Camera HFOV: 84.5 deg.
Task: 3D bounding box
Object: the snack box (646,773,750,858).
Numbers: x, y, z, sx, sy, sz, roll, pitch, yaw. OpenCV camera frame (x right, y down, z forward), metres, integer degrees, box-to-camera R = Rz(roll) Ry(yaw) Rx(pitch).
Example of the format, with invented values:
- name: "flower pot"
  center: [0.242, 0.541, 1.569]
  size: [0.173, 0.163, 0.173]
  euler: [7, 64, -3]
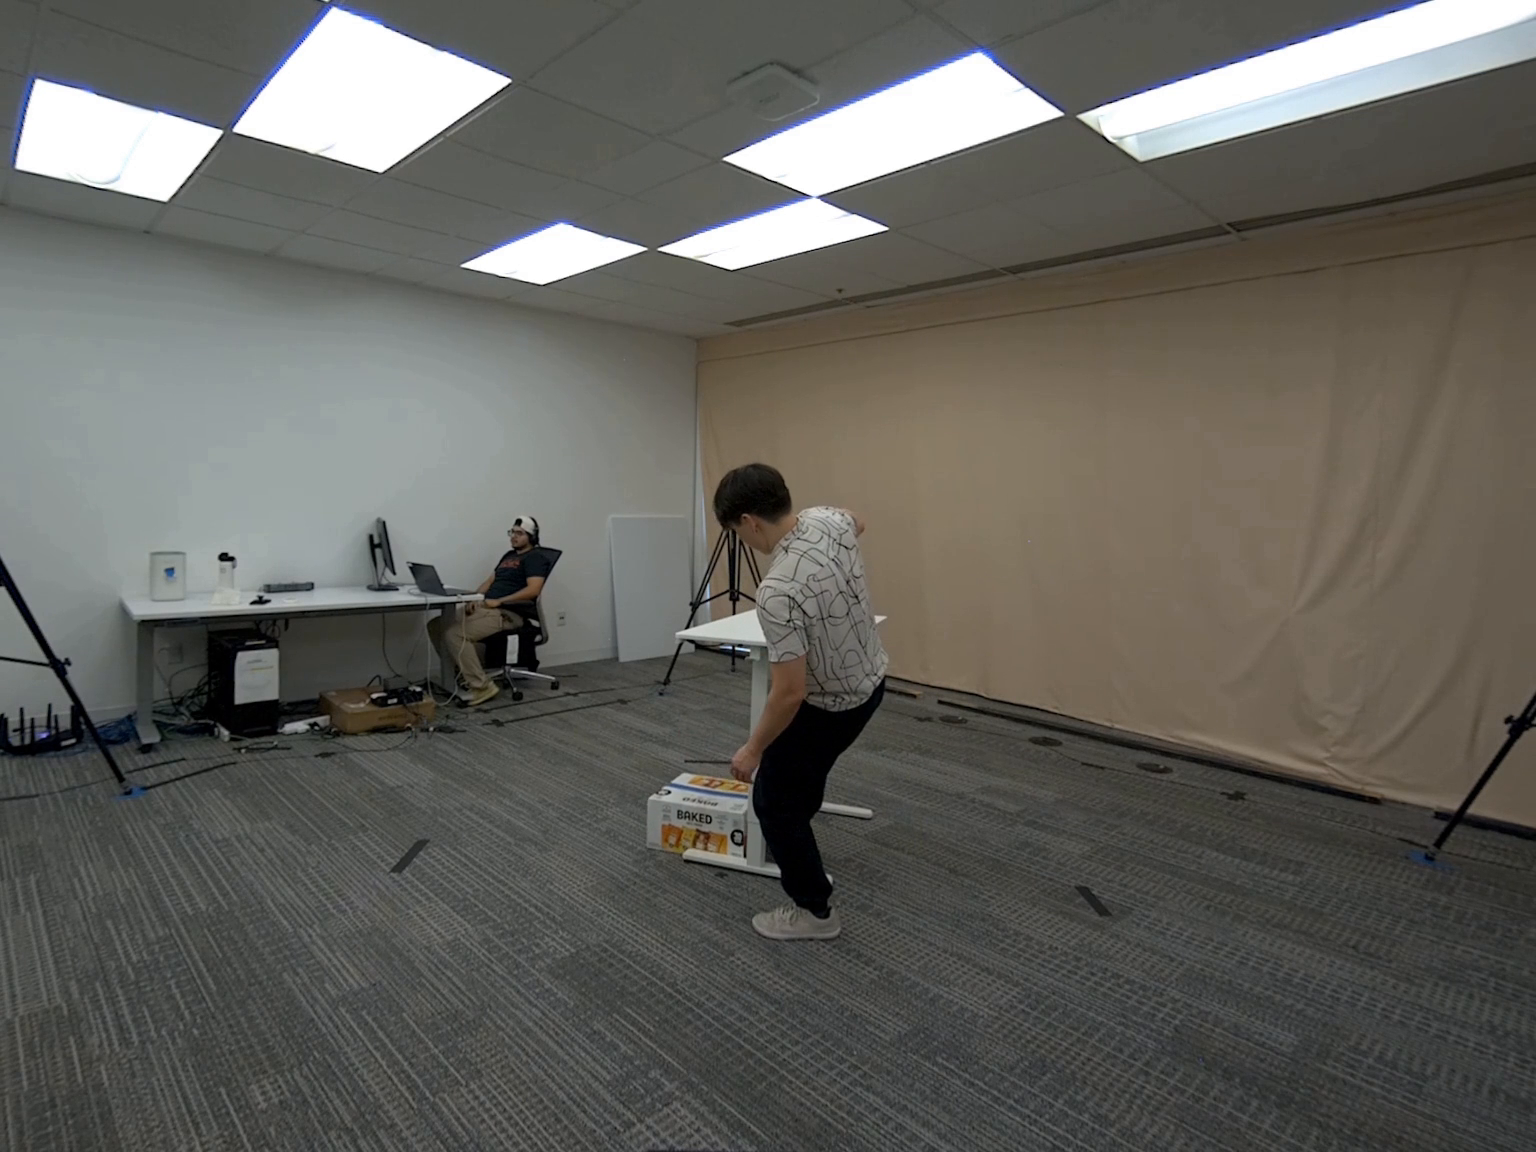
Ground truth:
- name: "snack box"
  center: [-0.237, 0.972, 3.401]
  size: [0.411, 0.205, 0.336]
  euler: [3, 4, 19]
